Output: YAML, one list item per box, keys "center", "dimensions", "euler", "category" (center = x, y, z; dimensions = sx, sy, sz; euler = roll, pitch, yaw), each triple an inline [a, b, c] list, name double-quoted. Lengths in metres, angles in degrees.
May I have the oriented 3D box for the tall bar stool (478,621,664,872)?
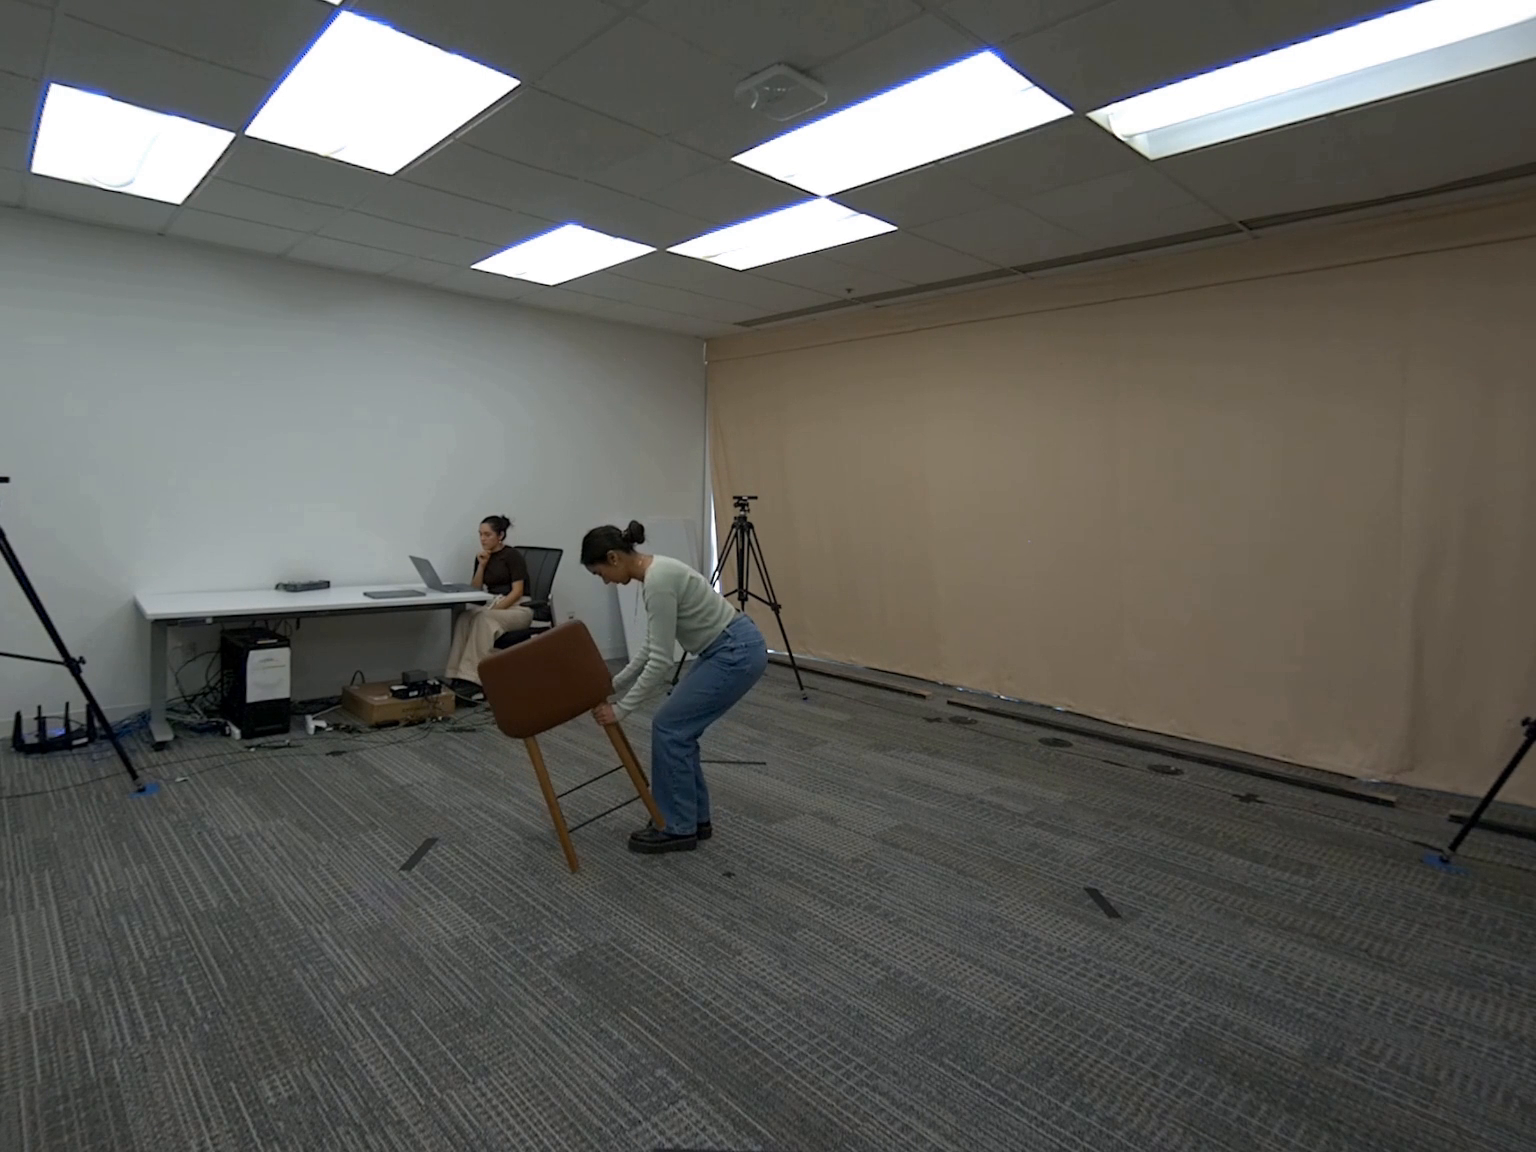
- center: [-0.785, 0.604, 3.256]
  dimensions: [0.454, 0.879, 0.476]
  euler: [-24, 13, -14]
  category: "tall bar stool"
